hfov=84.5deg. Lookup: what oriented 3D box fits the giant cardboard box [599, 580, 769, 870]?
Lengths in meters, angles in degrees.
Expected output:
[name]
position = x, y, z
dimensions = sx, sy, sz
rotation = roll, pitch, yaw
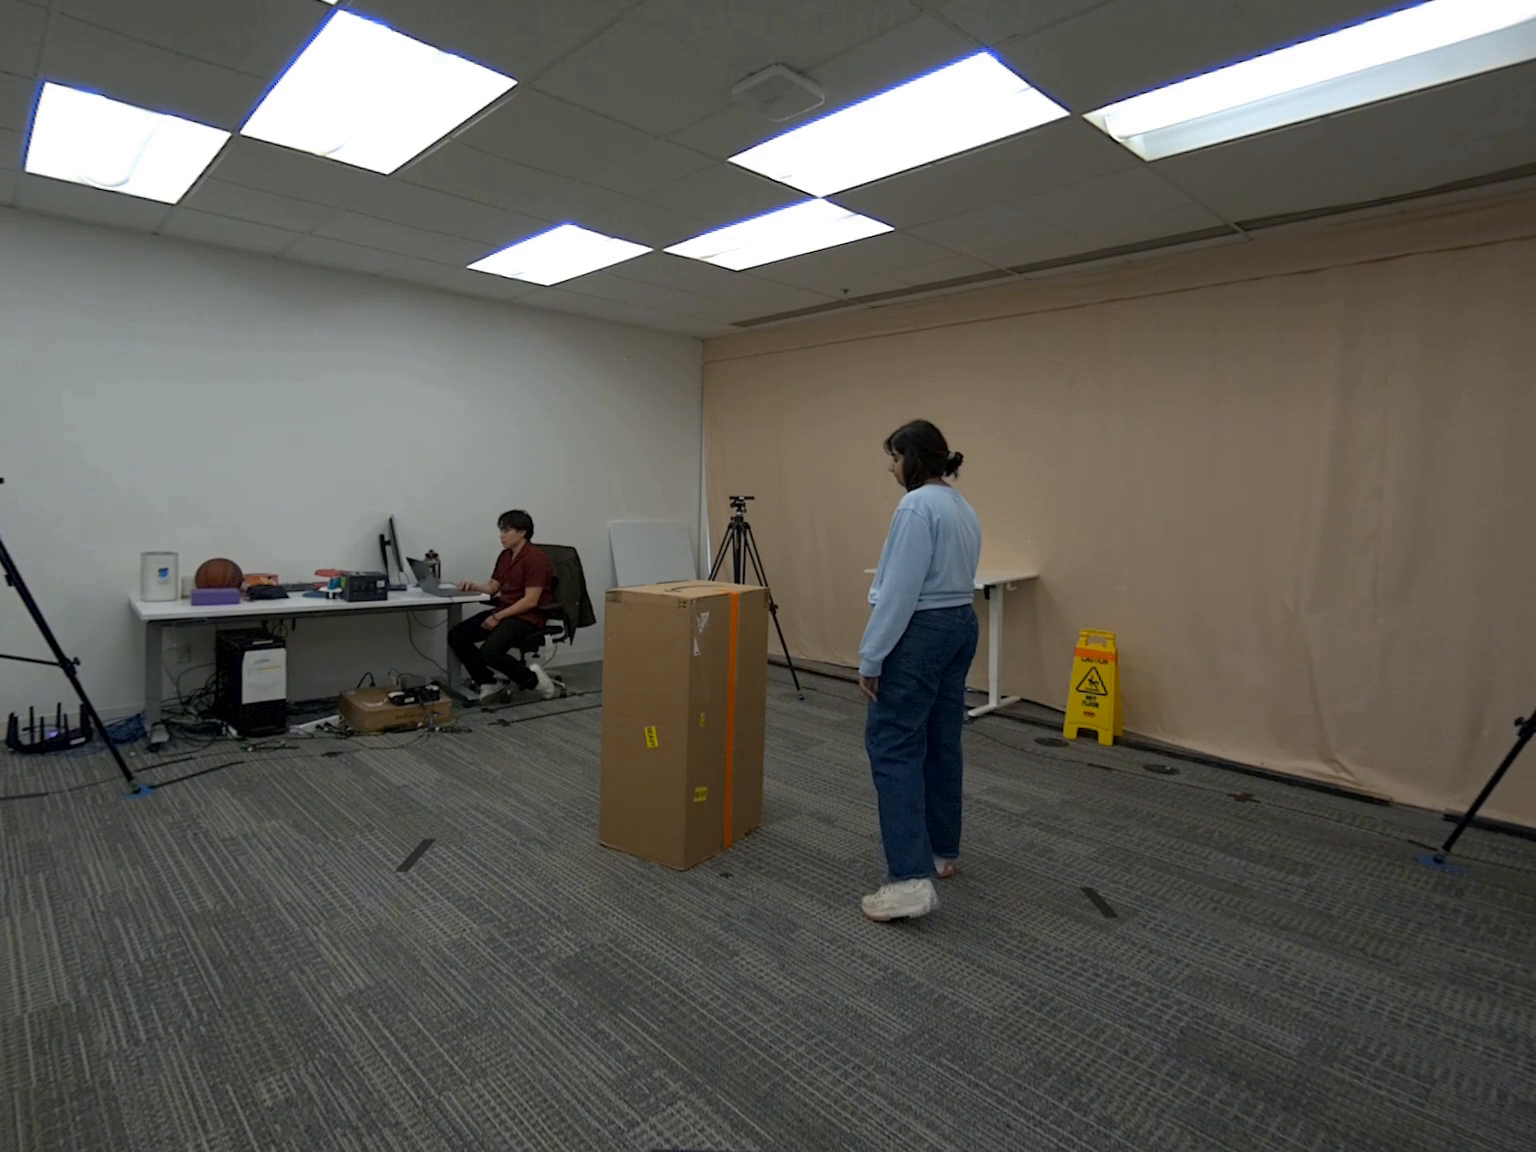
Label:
[giant cardboard box]
position = -0.334, 0.558, 3.456
dimensions = 0.436, 1.023, 0.565
rotation = 4, 4, 32
